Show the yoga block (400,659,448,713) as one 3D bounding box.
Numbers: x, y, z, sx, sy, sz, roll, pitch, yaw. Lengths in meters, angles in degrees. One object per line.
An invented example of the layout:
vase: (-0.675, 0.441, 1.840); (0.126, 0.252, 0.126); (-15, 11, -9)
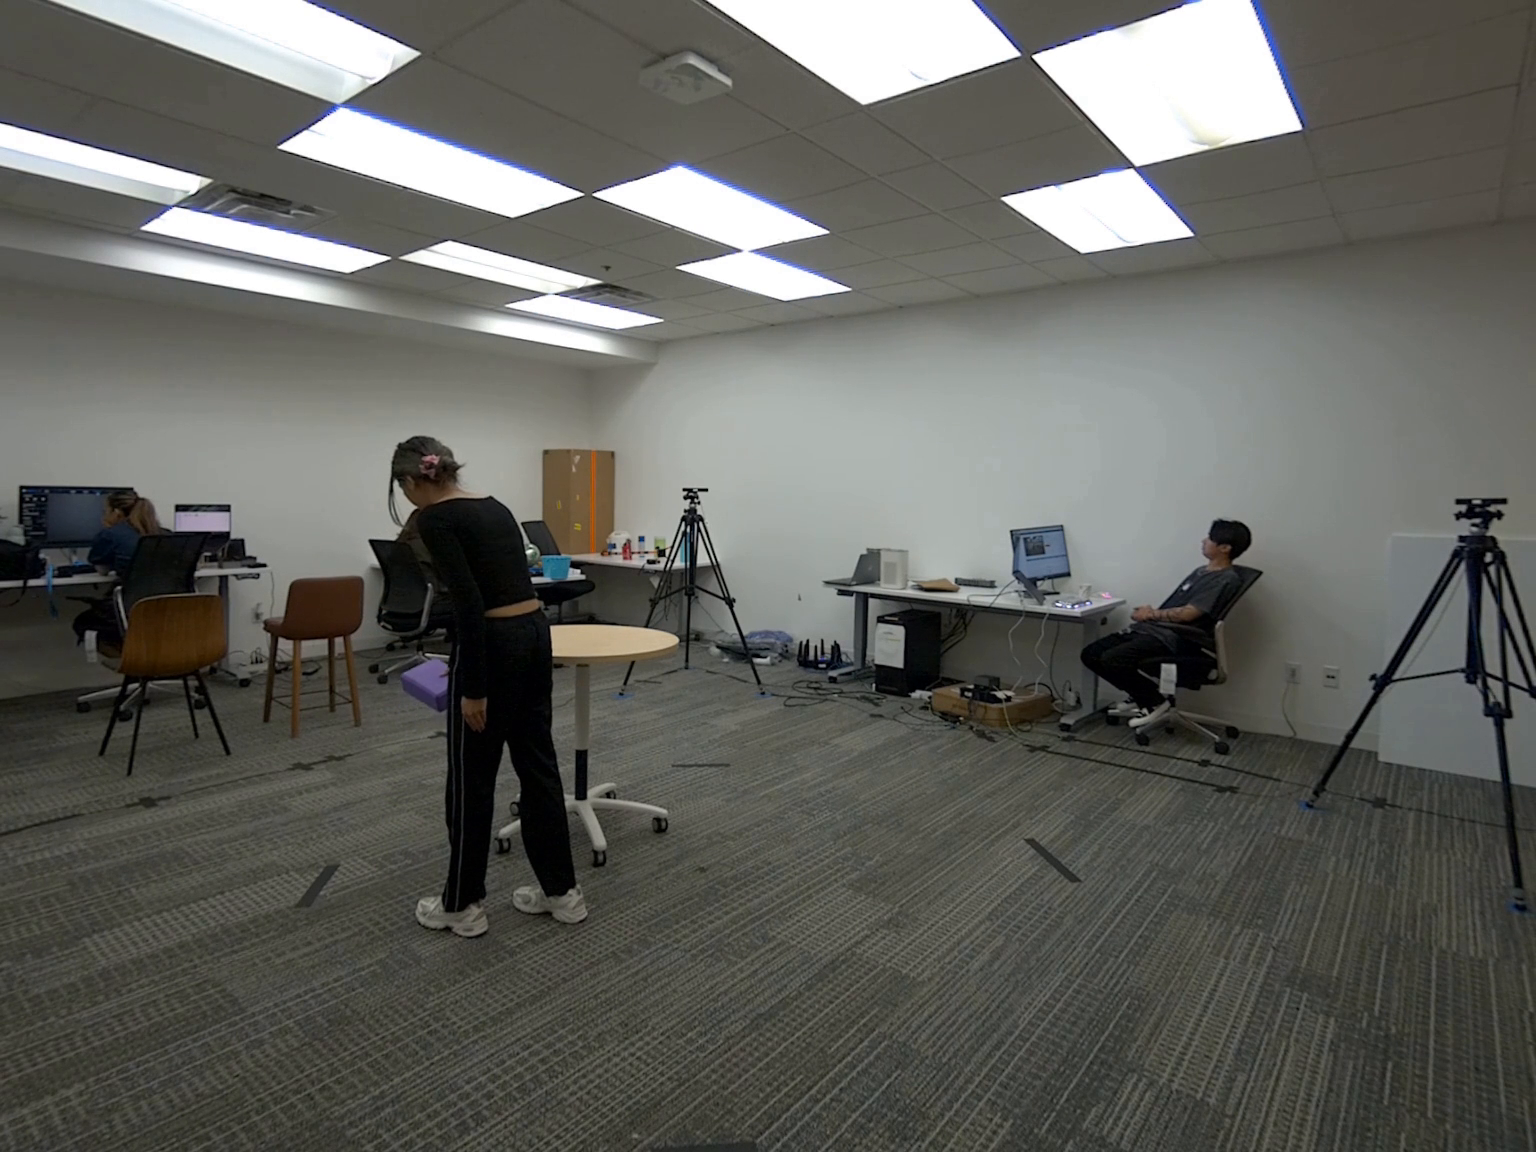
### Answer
yoga block: (-1.181, 0.378, 2.975); (0.237, 0.075, 0.146); (14, 25, 35)
